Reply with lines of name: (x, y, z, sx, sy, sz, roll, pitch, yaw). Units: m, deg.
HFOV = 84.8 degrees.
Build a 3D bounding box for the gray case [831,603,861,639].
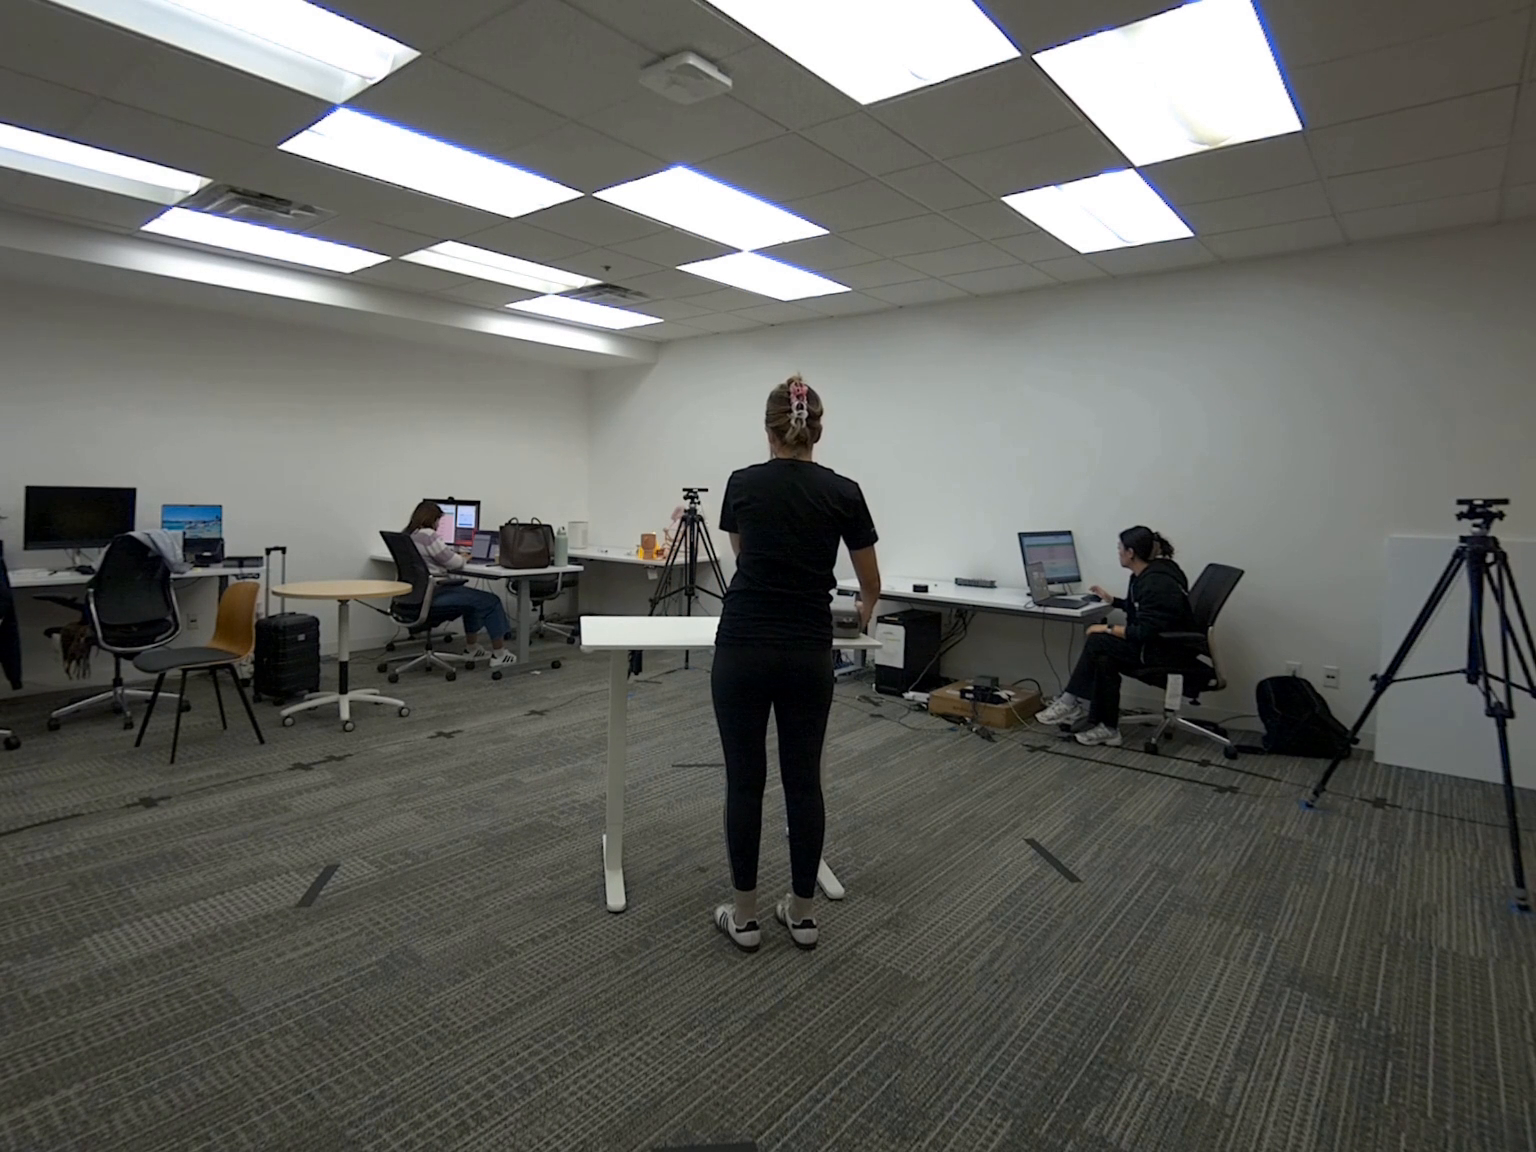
gray case: (0.193, 0.149, 3.080, 0.259, 0.104, 0.259, 2, 5, 6)
